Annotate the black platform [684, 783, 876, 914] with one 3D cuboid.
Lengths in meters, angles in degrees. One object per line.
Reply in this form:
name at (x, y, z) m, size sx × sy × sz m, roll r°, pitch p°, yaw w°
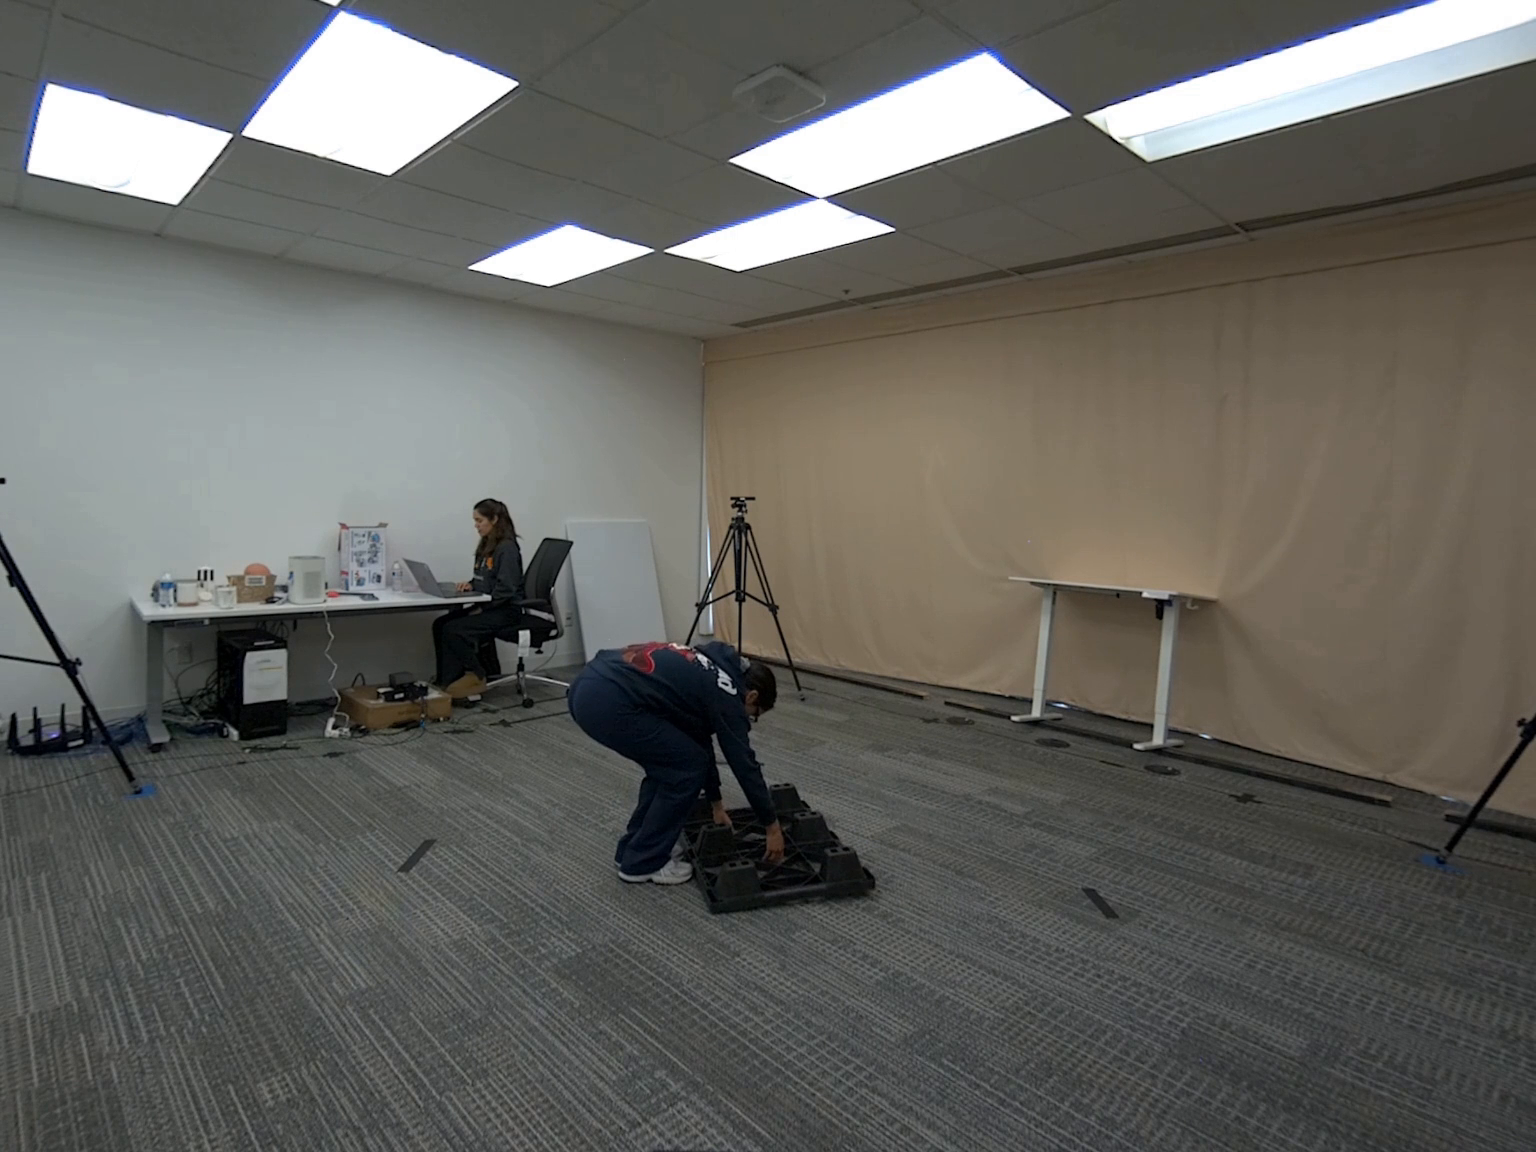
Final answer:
black platform at (-0.030, 1.009, 3.261) m, size 0.598 × 0.143 × 0.818 m, roll -3°, pitch 6°, yaw -16°
